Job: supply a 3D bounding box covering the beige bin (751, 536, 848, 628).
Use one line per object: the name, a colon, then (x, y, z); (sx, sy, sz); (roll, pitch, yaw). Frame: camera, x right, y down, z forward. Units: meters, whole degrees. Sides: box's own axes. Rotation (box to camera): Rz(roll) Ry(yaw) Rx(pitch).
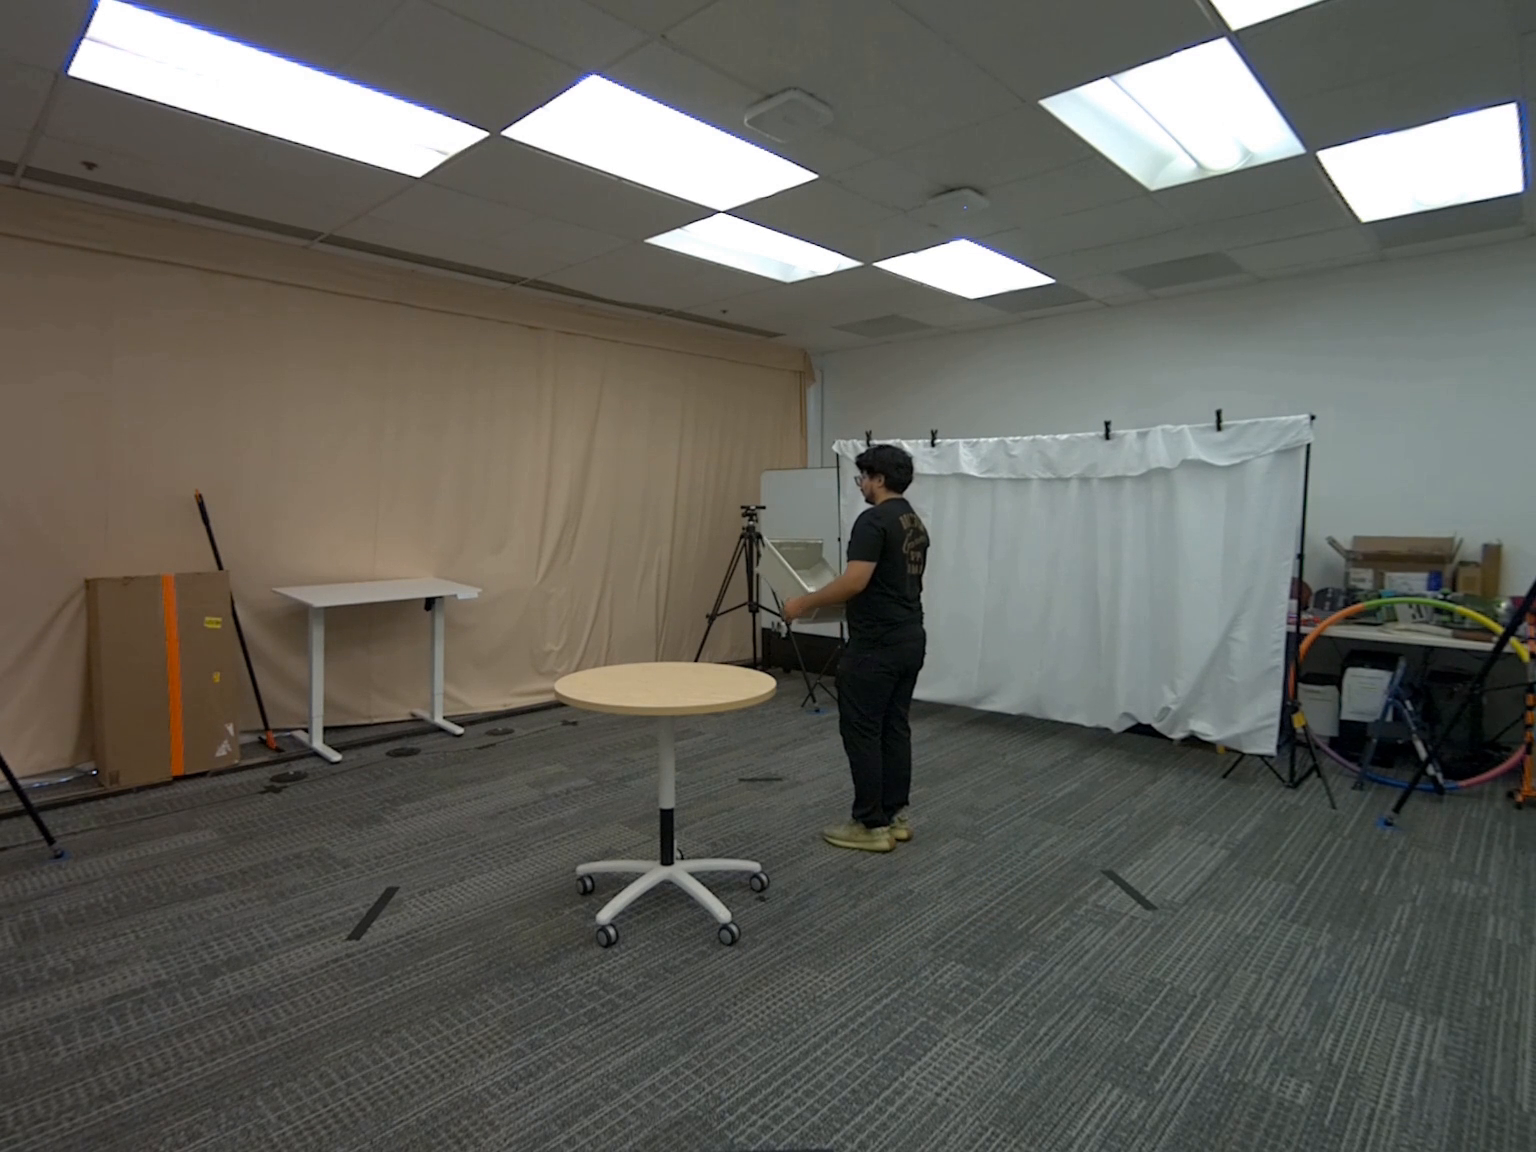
beige bin: (0.209, 0.014, 3.844); (0.367, 0.187, 0.437); (-3, 35, -32)
